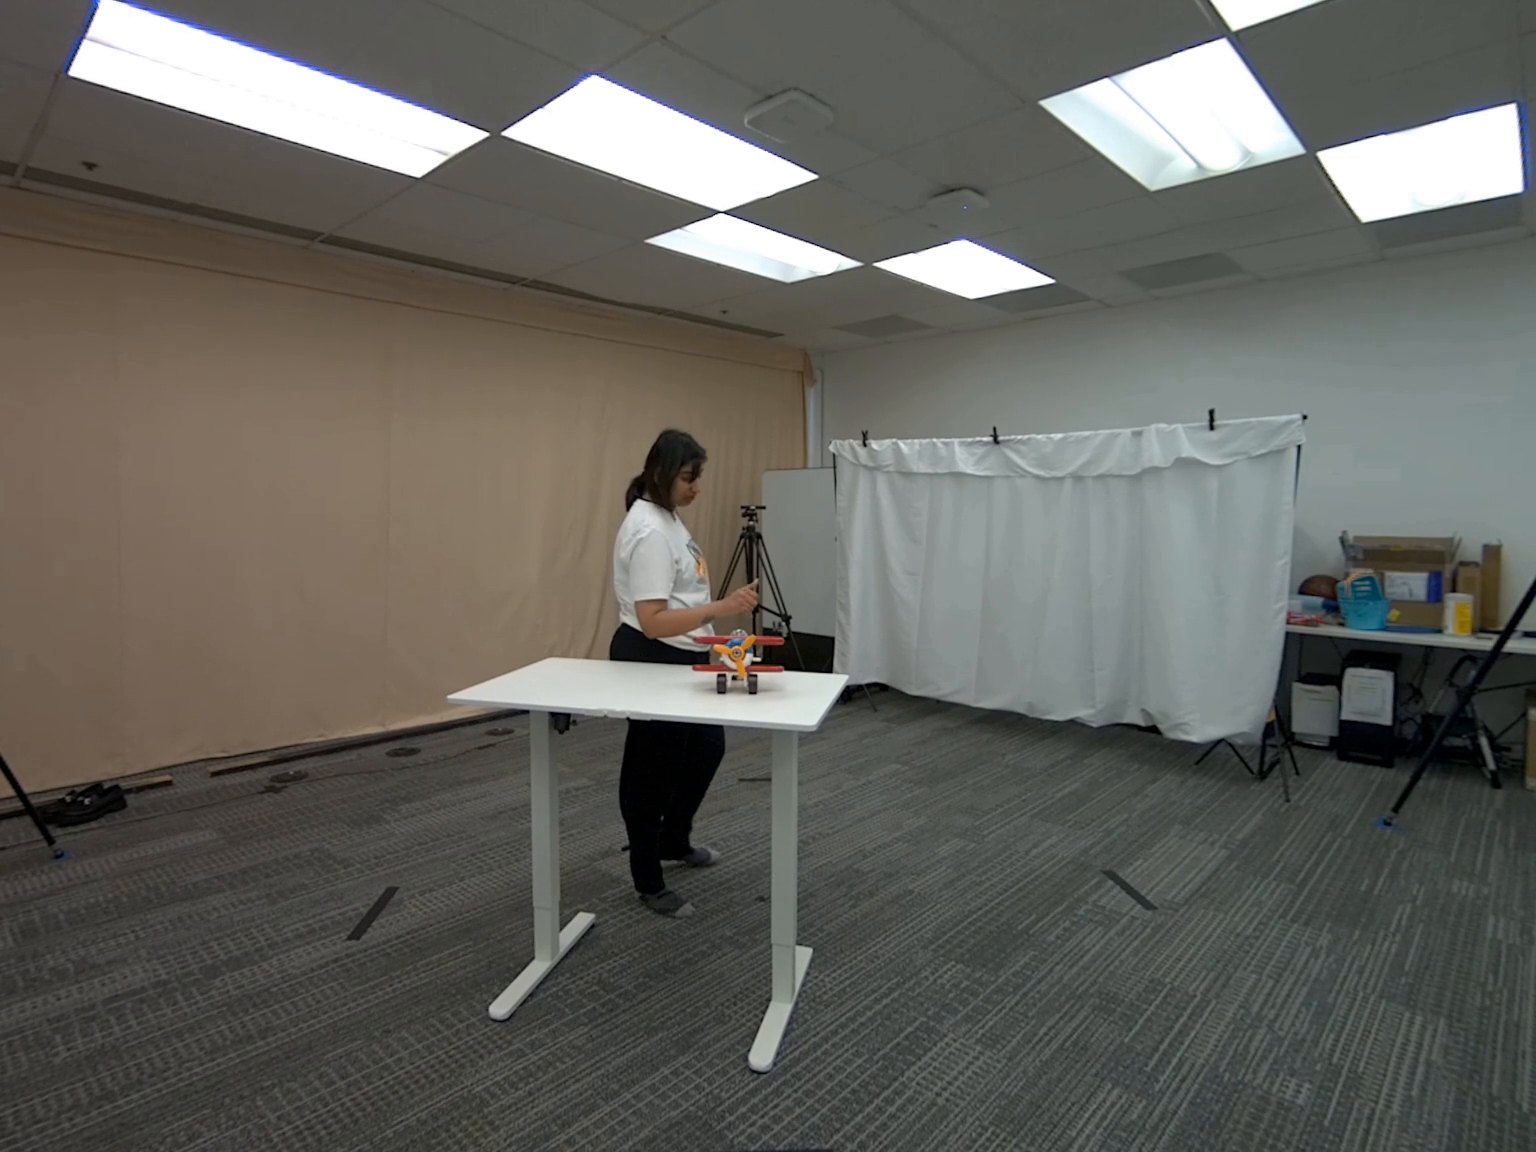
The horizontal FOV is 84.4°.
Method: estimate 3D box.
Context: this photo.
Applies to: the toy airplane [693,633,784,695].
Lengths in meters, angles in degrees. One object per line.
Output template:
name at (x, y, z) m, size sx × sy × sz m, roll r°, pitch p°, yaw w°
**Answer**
toy airplane at (-0.096, 0.238, 2.378) m, size 0.245 × 0.156 × 0.266 m, roll -3°, pitch 8°, yaw -26°
